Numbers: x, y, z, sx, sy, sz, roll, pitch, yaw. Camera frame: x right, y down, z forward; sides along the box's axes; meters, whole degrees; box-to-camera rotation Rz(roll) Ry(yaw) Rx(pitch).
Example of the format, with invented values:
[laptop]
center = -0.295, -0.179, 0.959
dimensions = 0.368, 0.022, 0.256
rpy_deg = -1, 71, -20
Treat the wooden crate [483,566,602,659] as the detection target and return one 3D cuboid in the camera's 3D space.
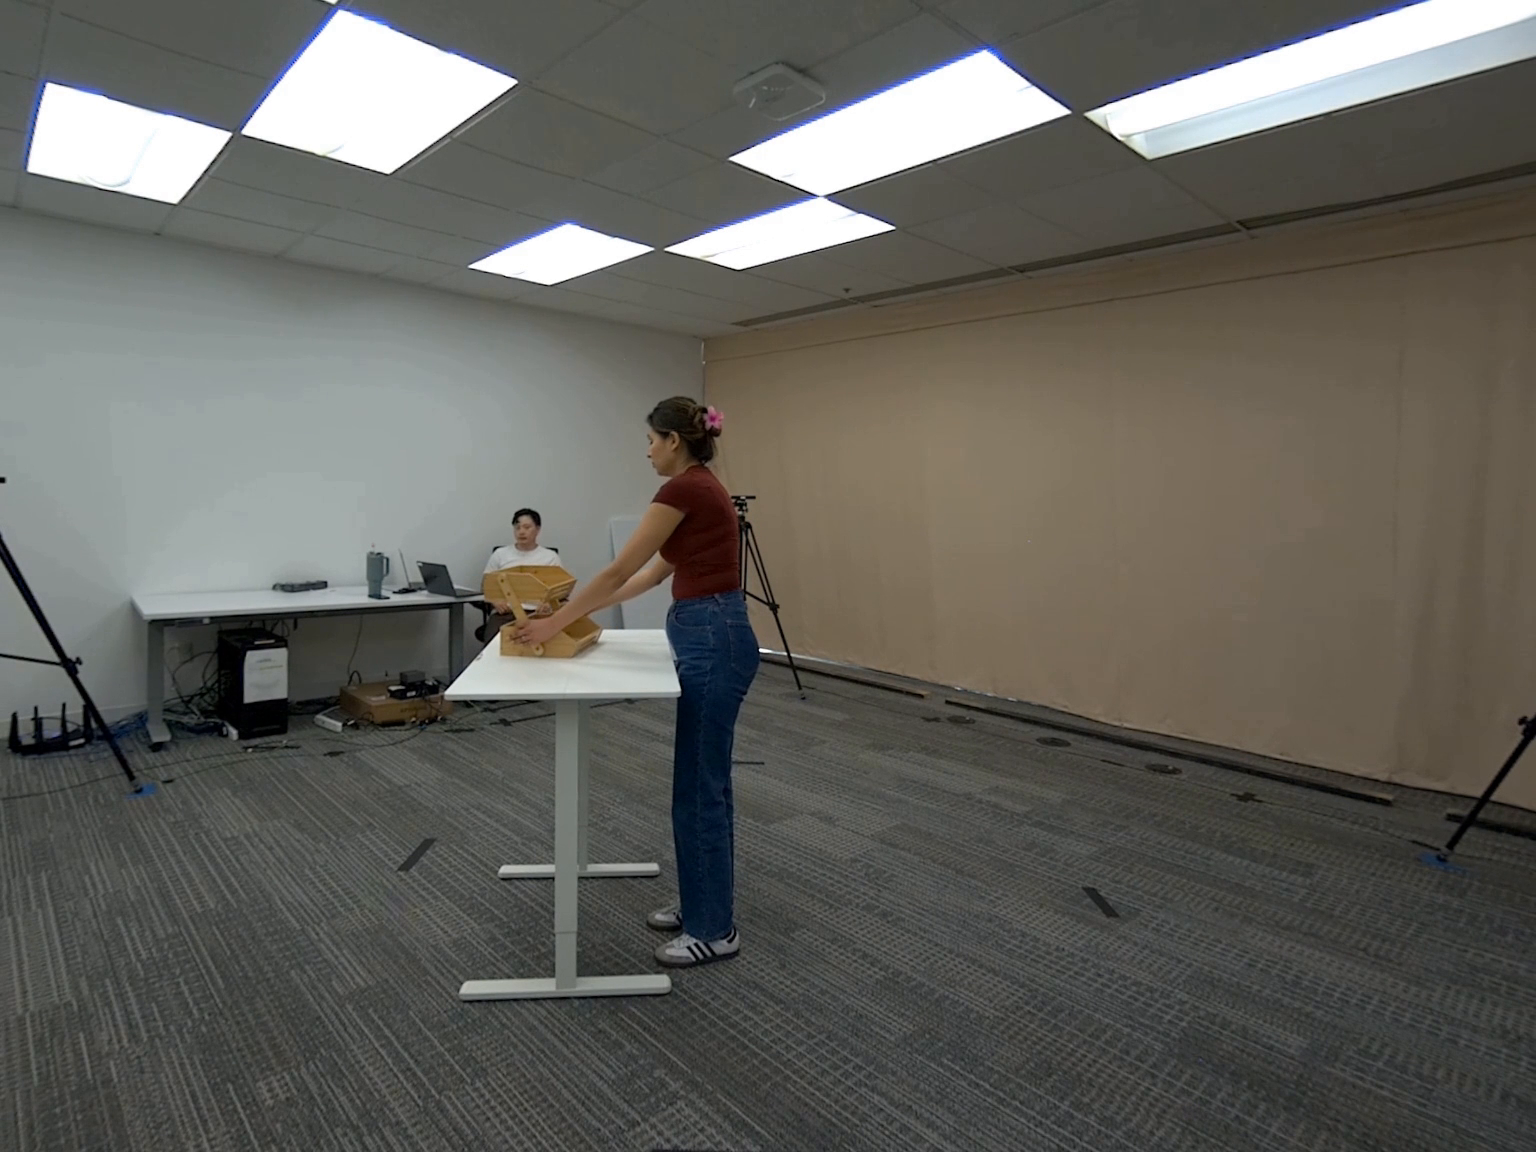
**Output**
[wooden crate]
center = -0.723, 0.109, 2.763
dimensions = 0.303, 0.272, 0.324
rpy_deg = 0, 4, 3
